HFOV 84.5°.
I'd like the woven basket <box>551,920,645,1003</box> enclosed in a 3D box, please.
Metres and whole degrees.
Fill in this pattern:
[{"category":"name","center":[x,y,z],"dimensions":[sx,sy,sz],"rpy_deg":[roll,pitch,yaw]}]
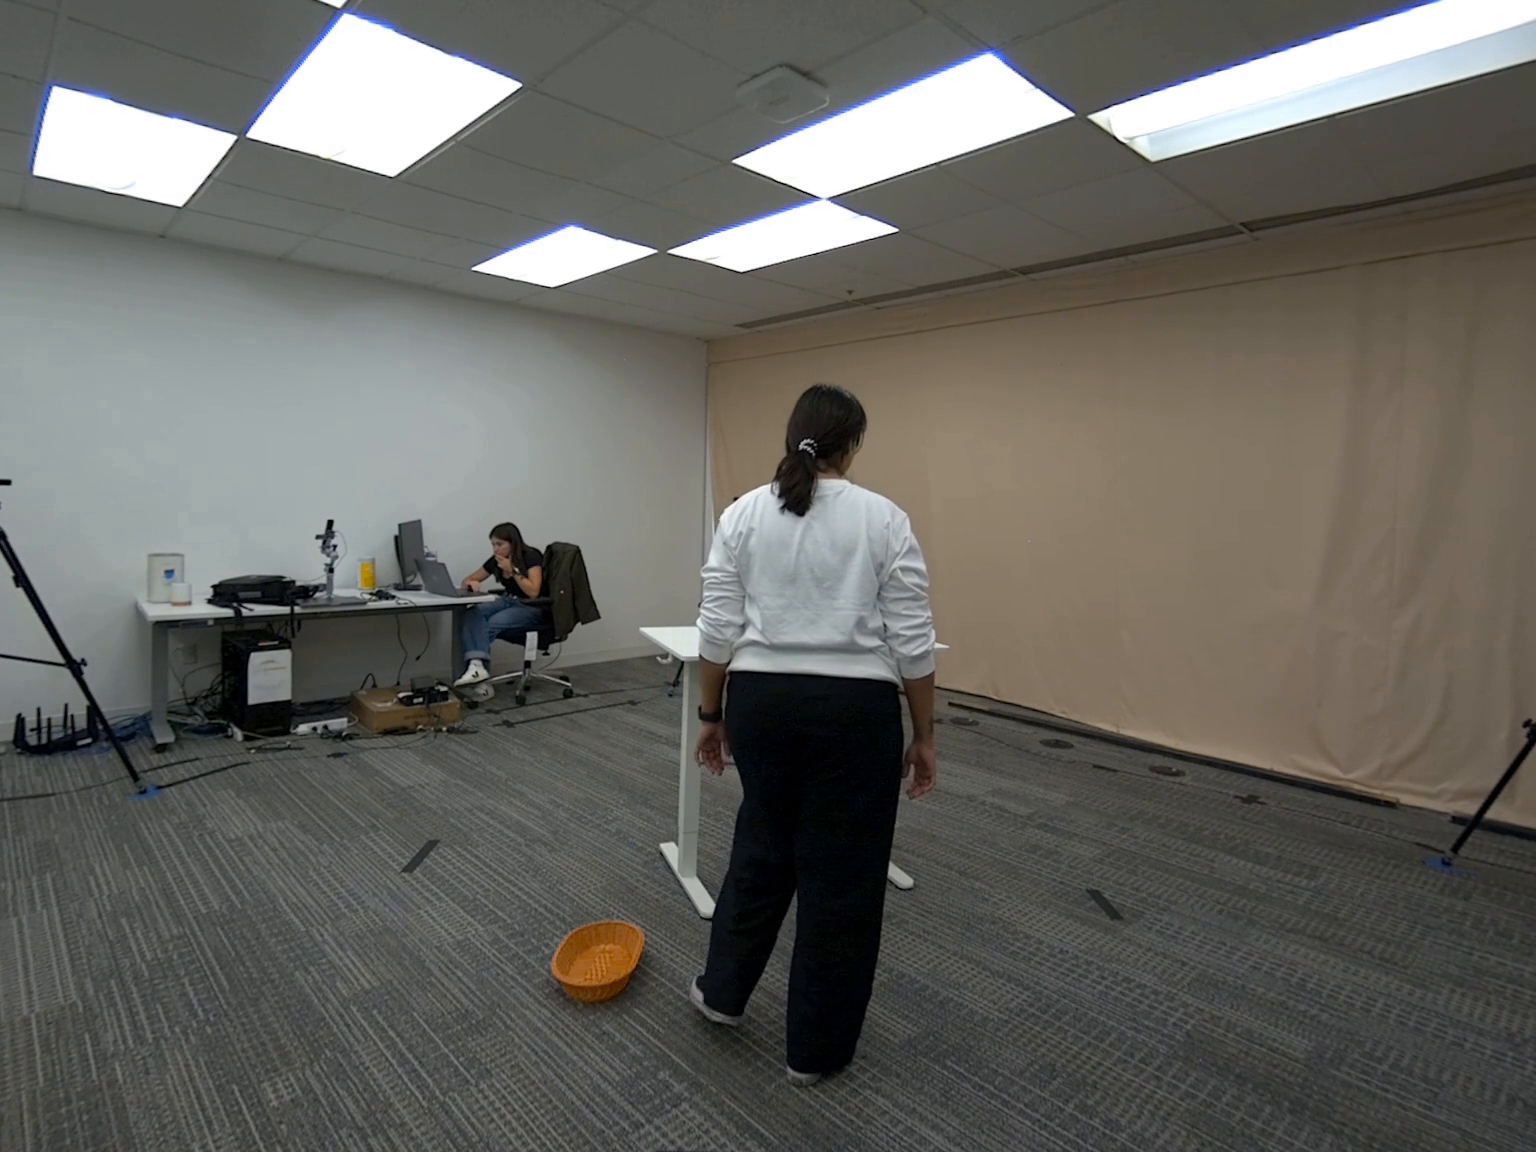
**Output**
[{"category":"woven basket","center":[-0.496,1.121,2.447],"dimensions":[0.253,0.073,0.350],"rpy_deg":[0,5,5]}]
